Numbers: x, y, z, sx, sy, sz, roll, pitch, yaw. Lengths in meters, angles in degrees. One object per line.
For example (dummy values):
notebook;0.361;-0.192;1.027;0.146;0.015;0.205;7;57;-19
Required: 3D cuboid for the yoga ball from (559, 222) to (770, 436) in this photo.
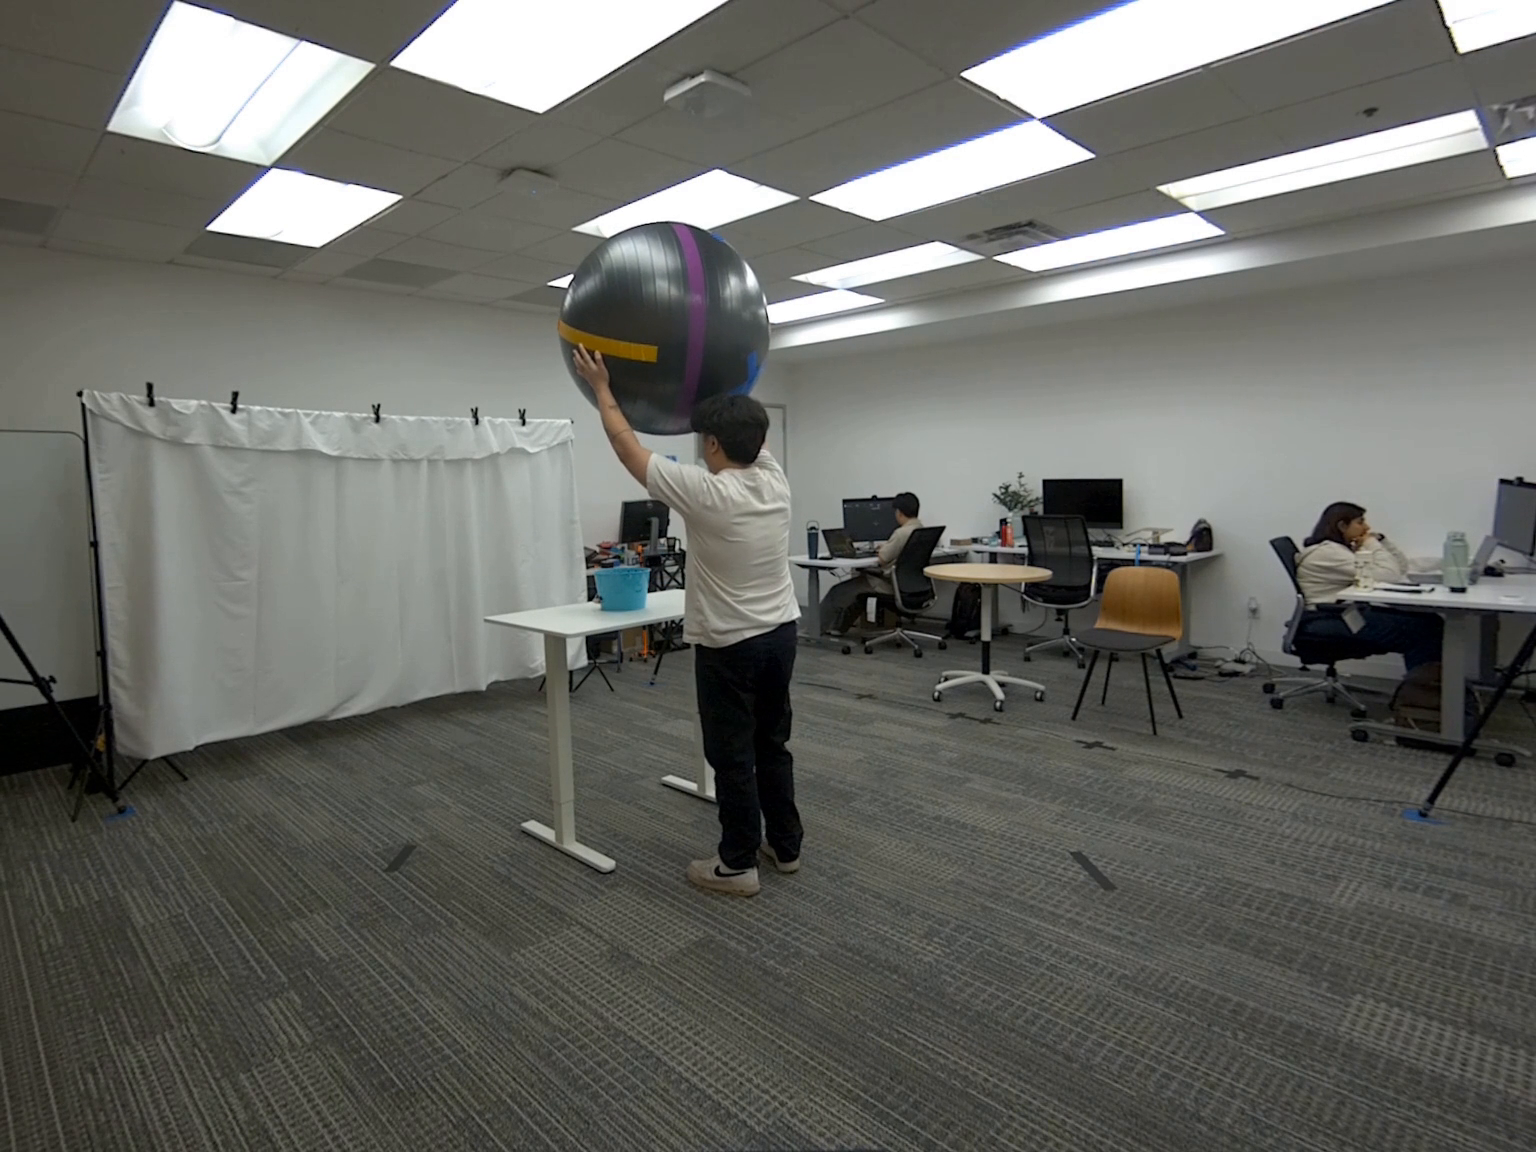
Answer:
yoga ball;-0.367;-0.886;3.110;0.757;0.755;0.762;-1;5;-2
